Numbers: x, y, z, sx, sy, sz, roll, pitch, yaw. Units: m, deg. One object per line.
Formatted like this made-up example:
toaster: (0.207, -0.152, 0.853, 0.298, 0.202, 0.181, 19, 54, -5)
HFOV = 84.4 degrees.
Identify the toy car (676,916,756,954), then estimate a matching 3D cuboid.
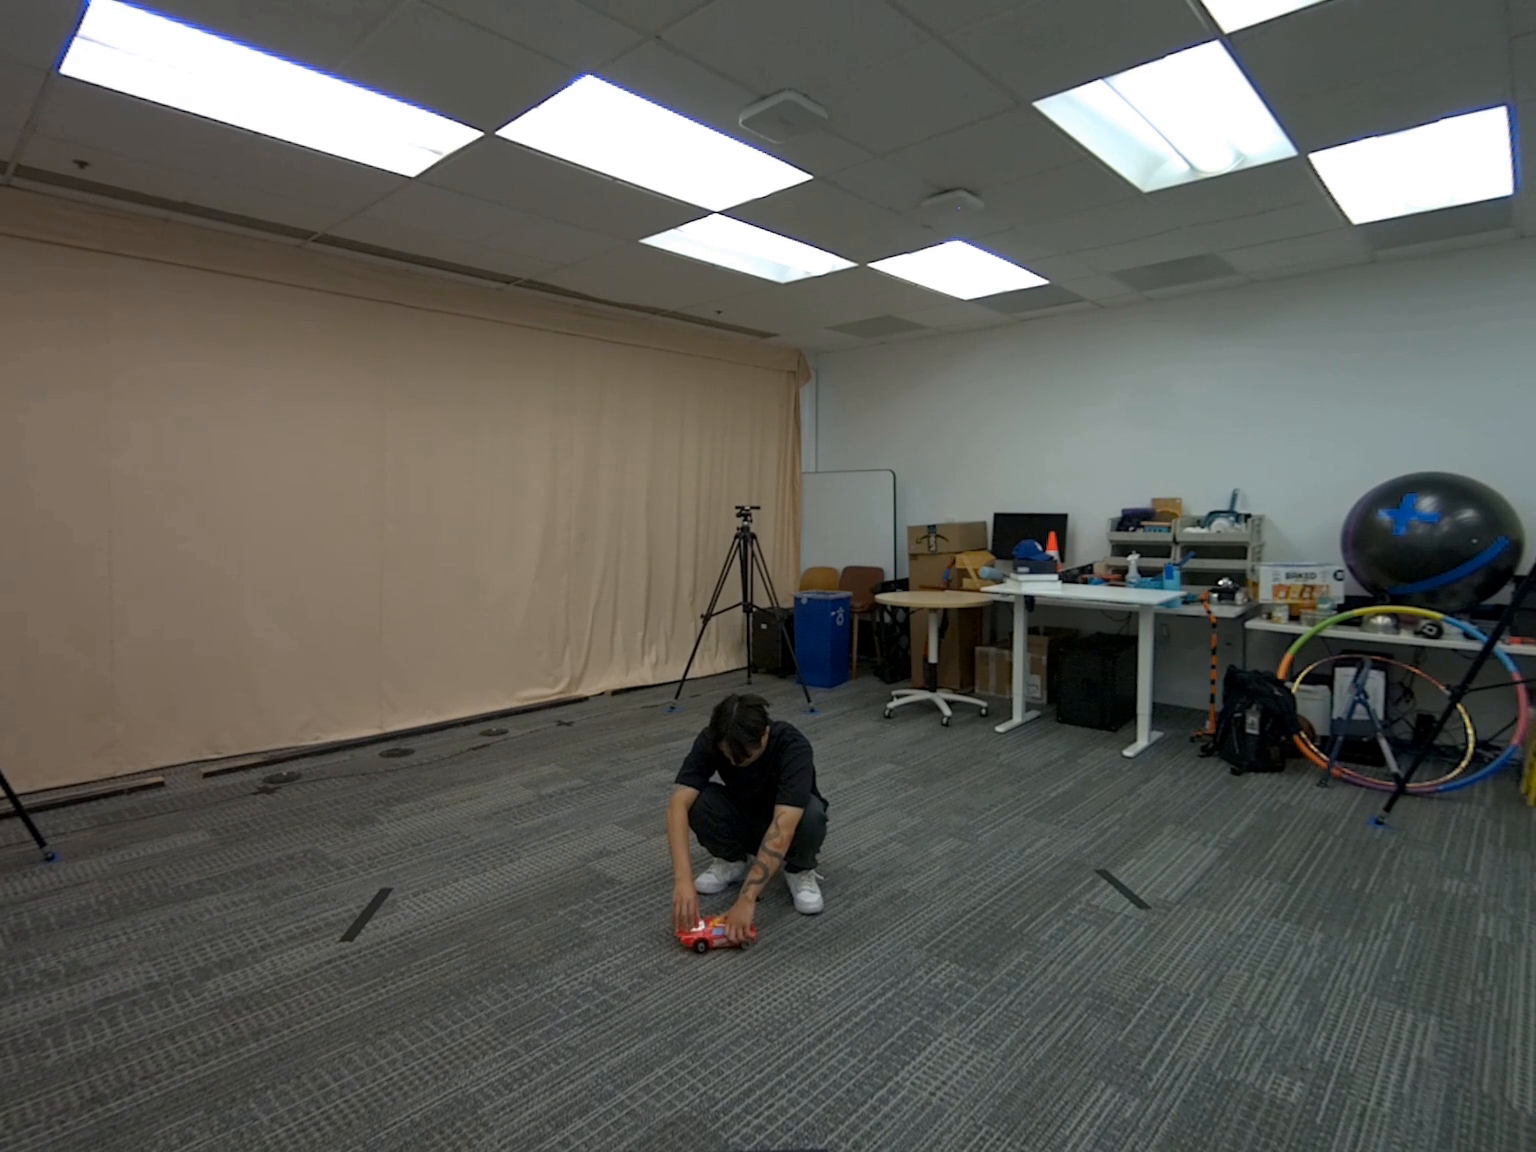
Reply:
toy car: (-0.174, 1.133, 2.684, 0.252, 0.083, 0.132, 11, 3, -9)
